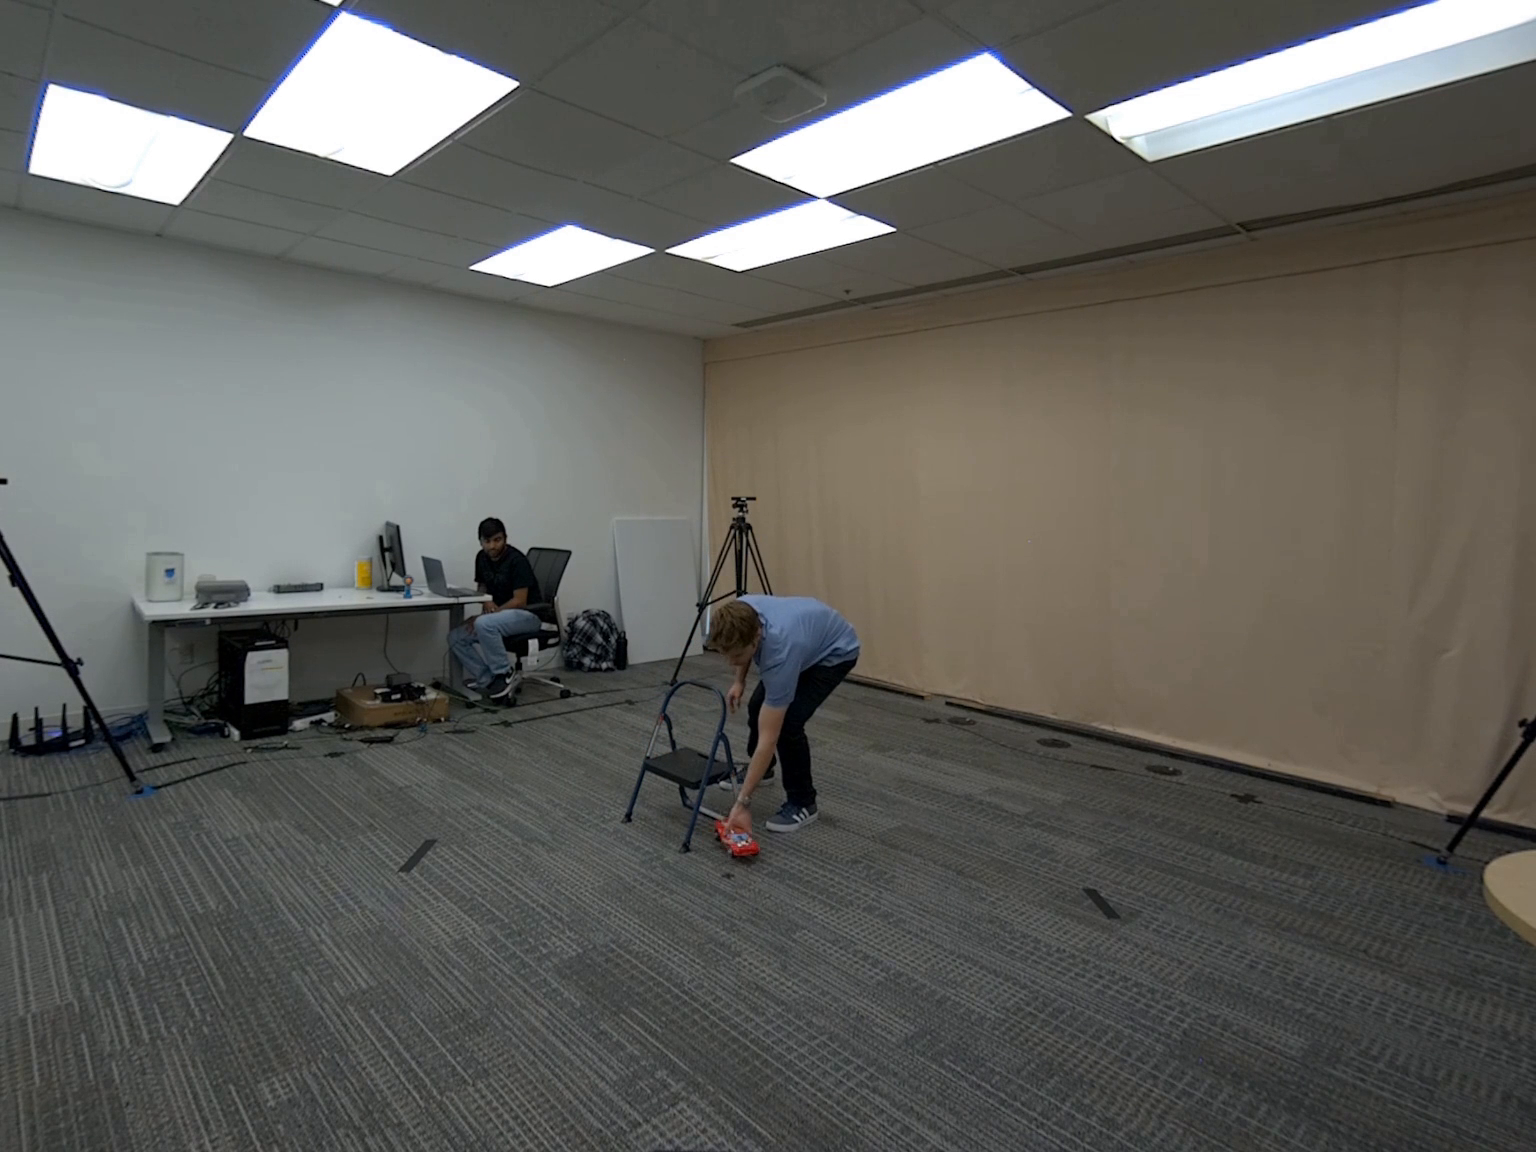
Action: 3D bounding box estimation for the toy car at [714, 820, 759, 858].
[{"bbox_3d":[-0.129,1.017,3.299,0.128,0.082,0.261,0,18,-23],"label":"toy car"}]
